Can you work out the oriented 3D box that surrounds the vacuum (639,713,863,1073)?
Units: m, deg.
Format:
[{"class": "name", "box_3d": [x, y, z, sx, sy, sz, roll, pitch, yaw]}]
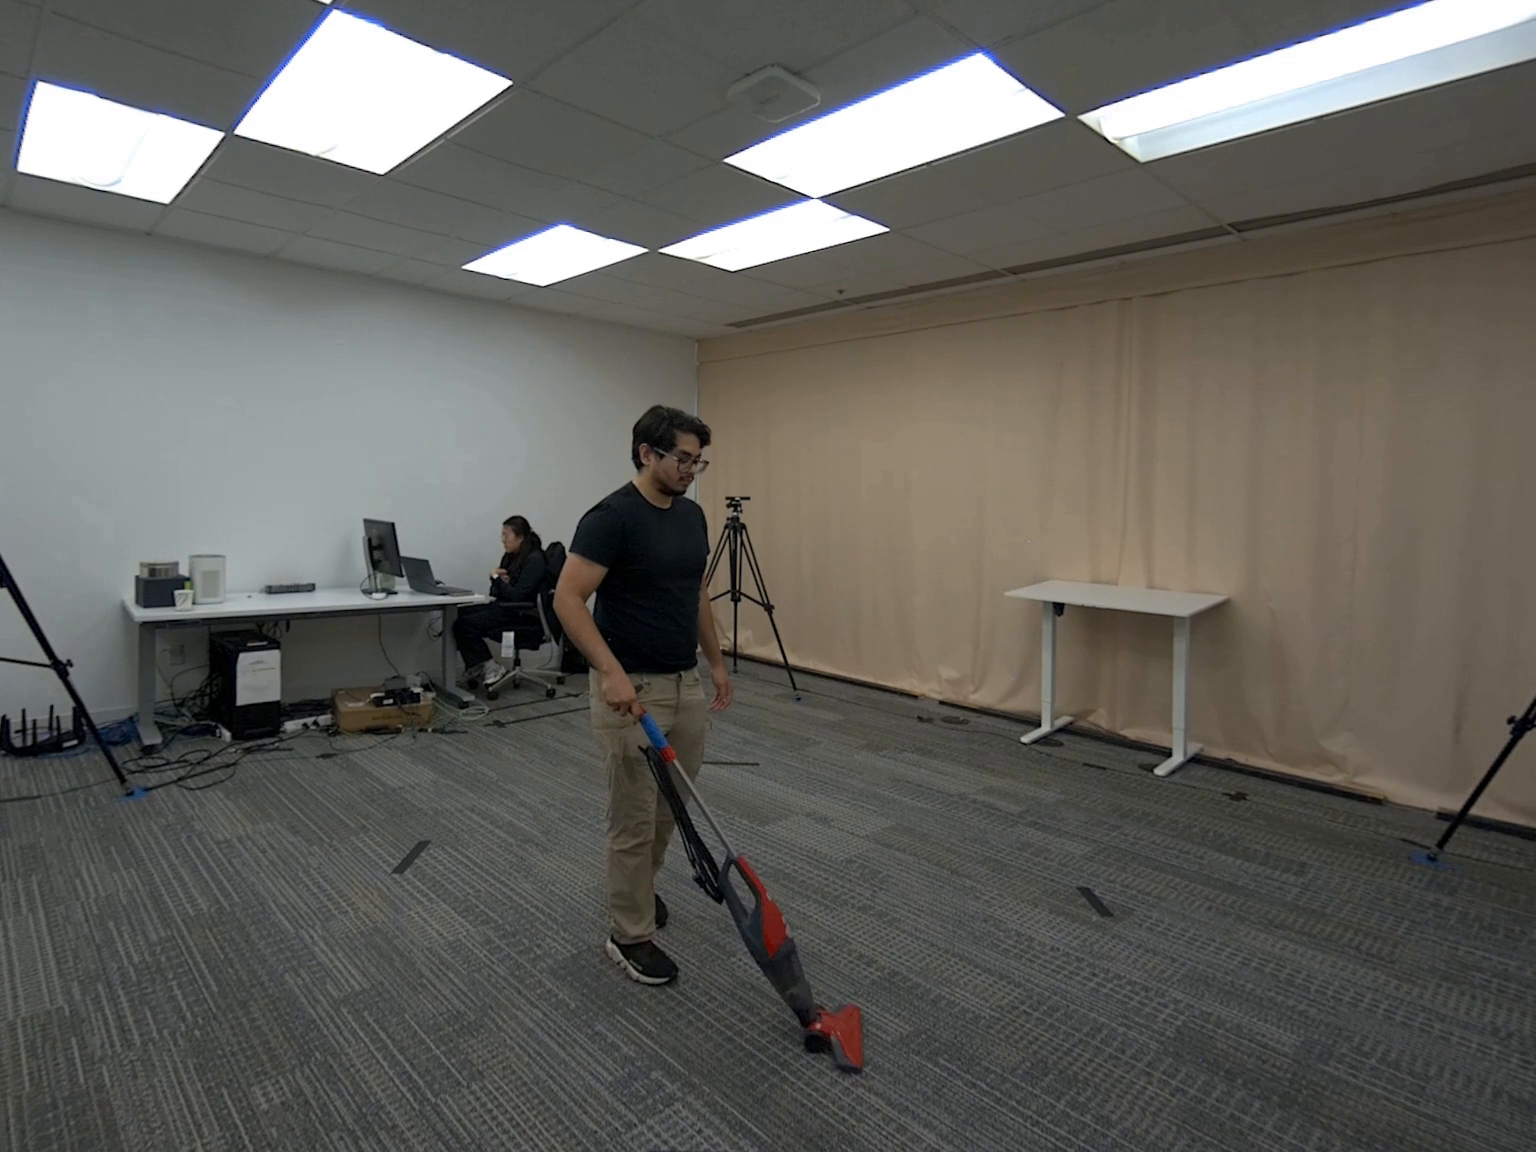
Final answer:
[{"class": "vacuum", "box_3d": [-0.118, 0.756, 2.189, 0.144, 1.052, 0.251, -33, -2, 11]}]
